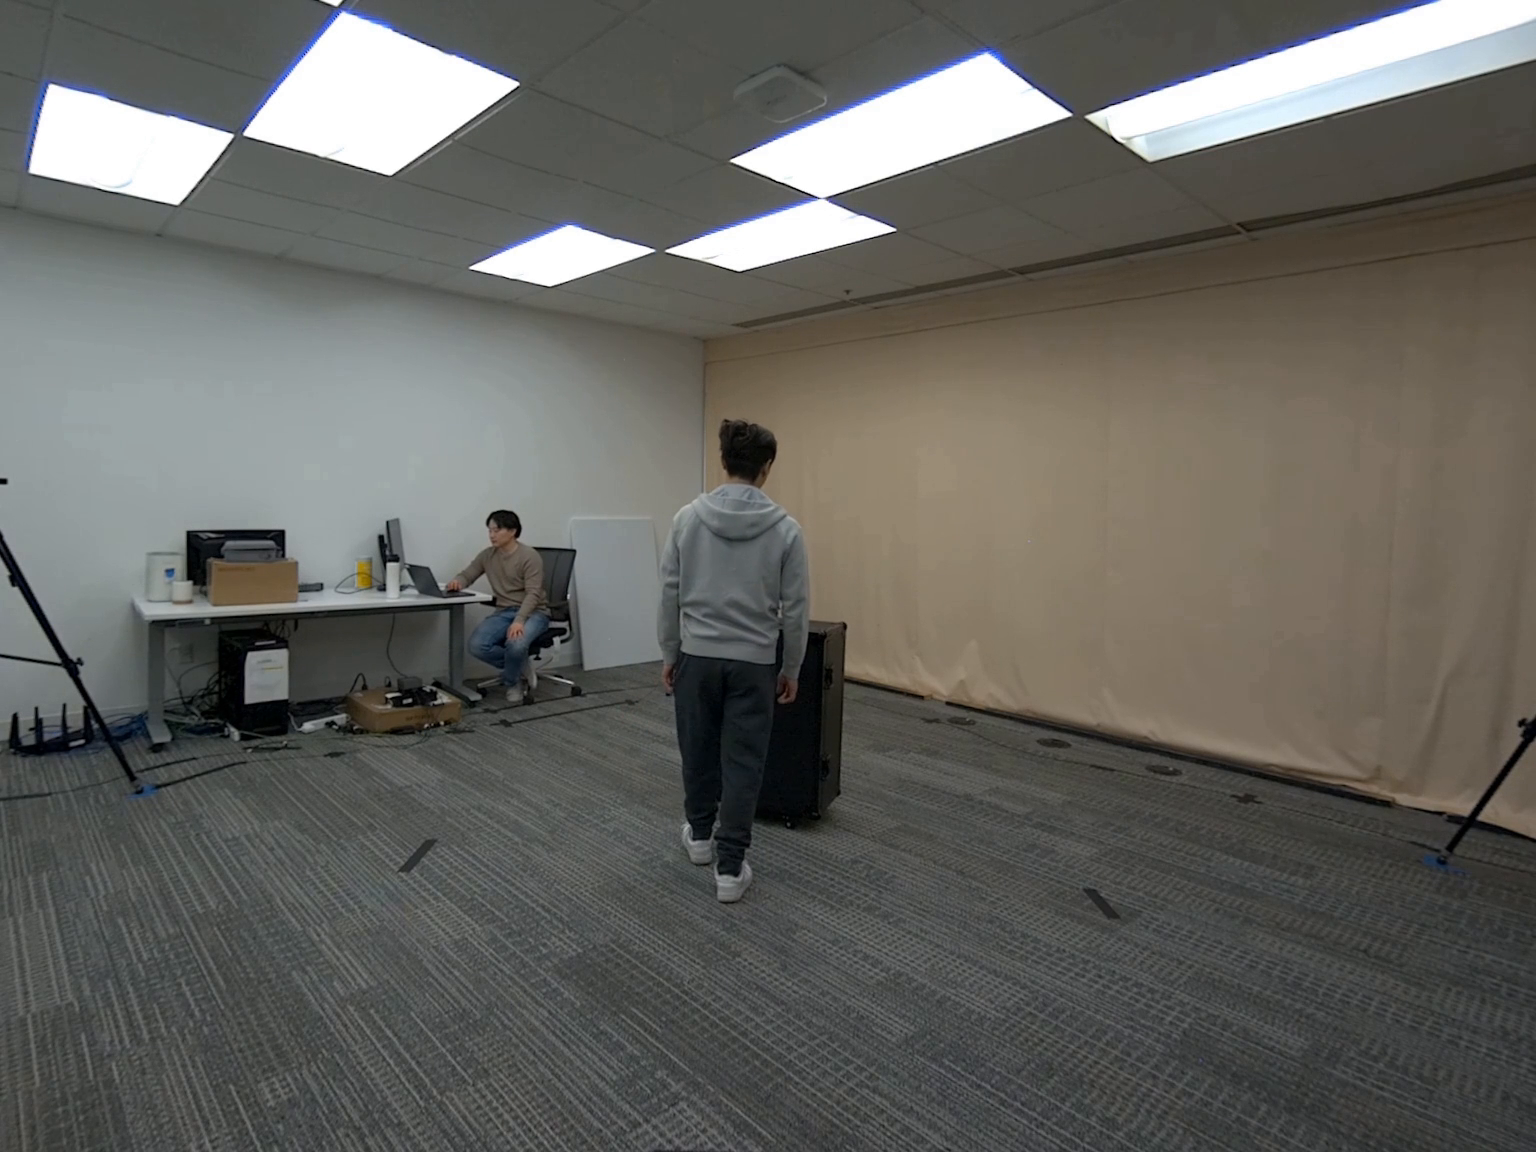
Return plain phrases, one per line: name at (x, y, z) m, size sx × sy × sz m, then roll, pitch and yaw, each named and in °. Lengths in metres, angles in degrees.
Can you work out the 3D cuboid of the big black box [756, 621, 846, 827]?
big black box at (0.051, 0.629, 3.737) m, size 0.530 × 0.860 × 0.390 m, roll 3°, pitch 3°, yaw 22°
